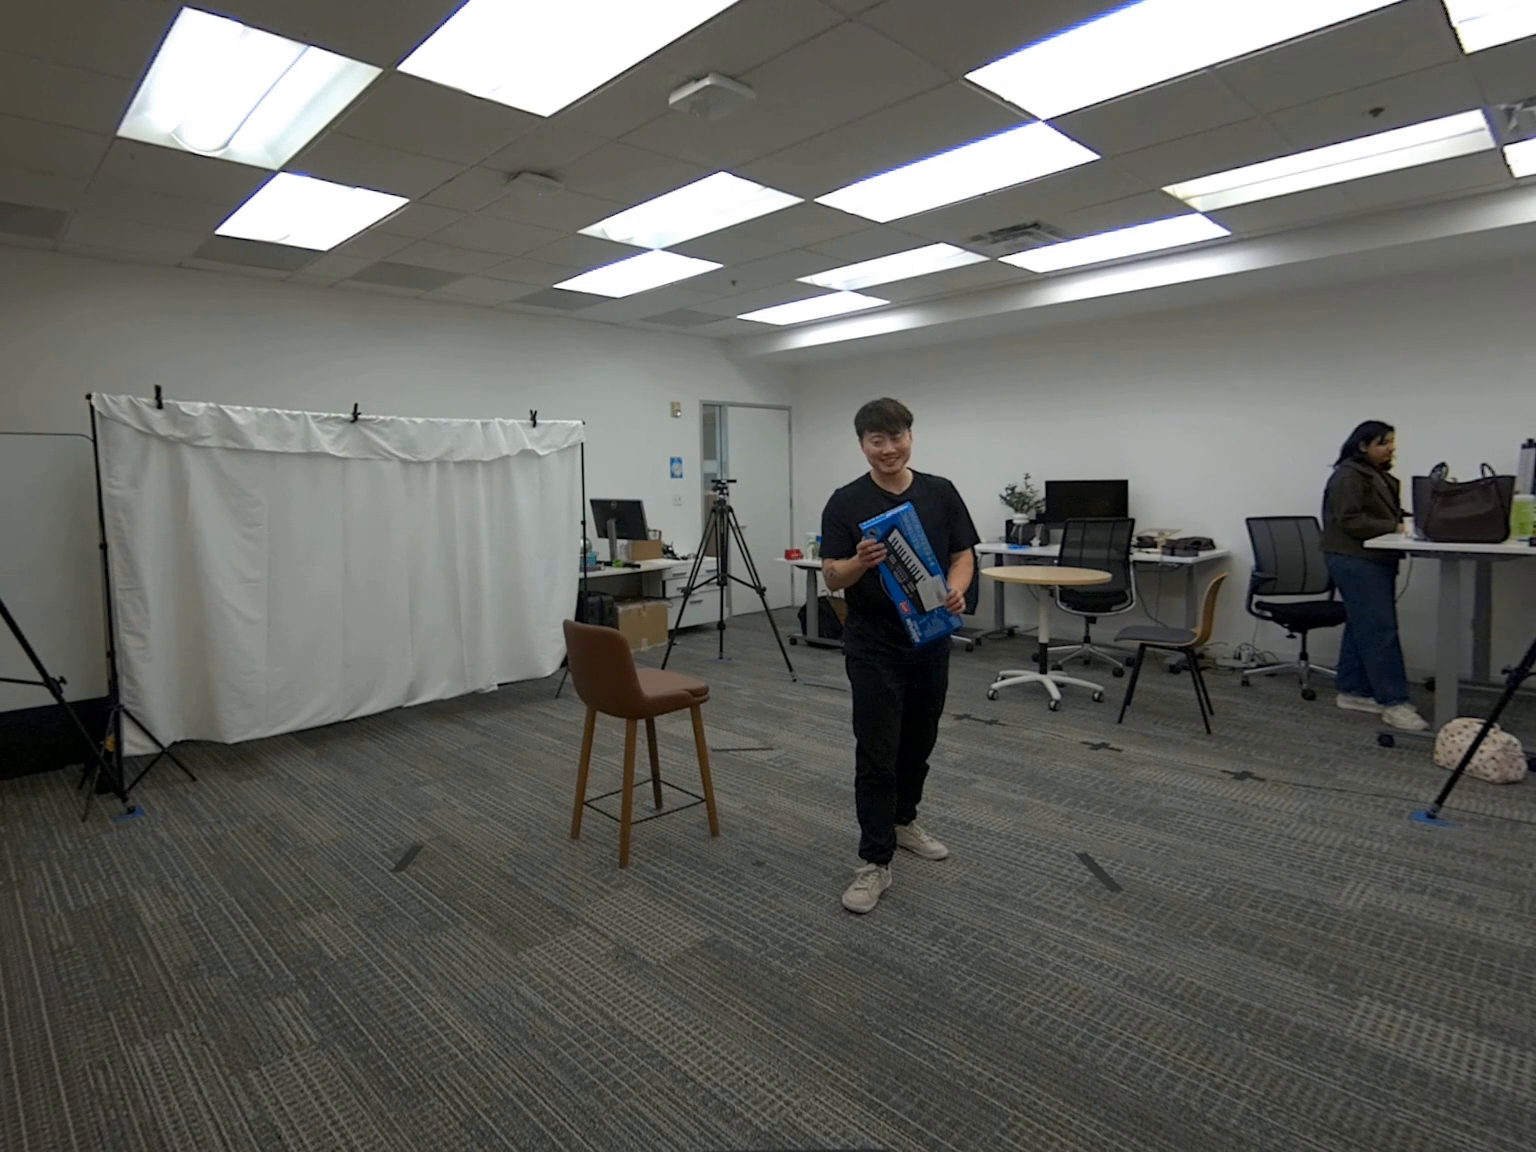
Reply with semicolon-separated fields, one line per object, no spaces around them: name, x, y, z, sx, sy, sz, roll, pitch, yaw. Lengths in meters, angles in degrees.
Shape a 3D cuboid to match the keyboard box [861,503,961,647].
keyboard box;0.448;-0.003;2.702;0.176;0.429;0.060;-24;14;6
